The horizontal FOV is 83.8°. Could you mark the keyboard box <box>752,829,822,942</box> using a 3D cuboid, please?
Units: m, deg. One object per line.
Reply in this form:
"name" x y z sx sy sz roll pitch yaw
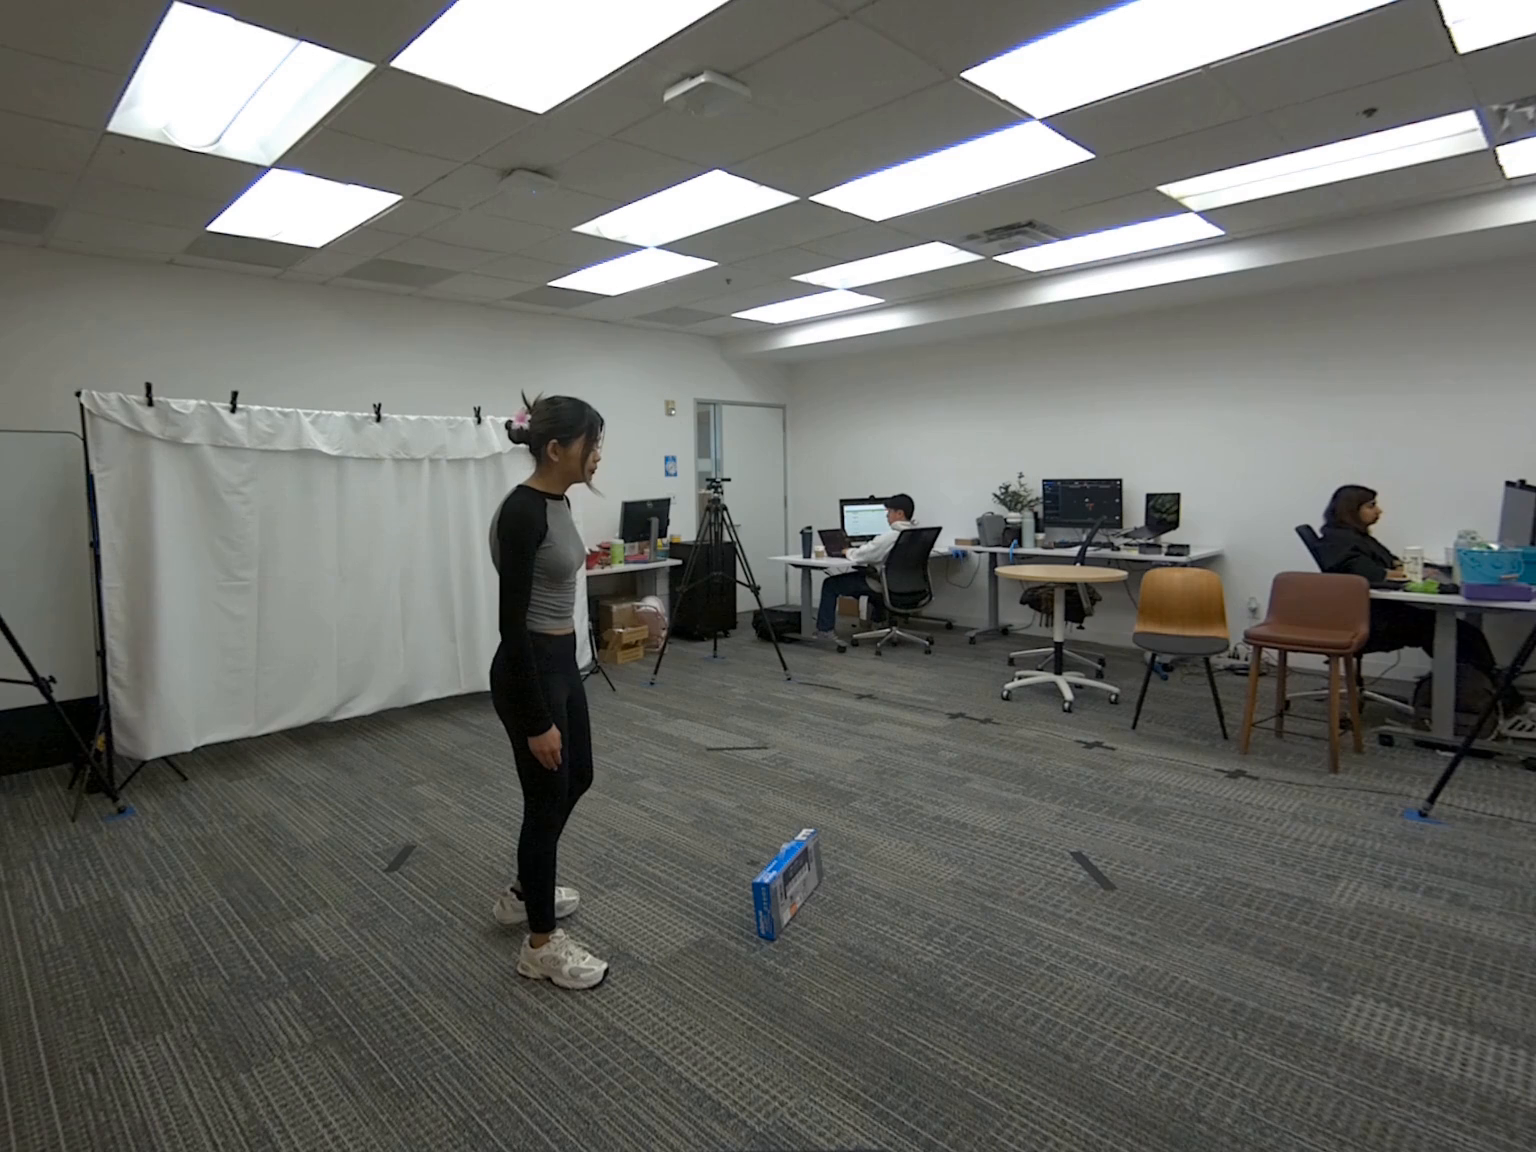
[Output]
"keyboard box" 0.074 0.989 2.781 0.060 0.175 0.429 -6 4 24
